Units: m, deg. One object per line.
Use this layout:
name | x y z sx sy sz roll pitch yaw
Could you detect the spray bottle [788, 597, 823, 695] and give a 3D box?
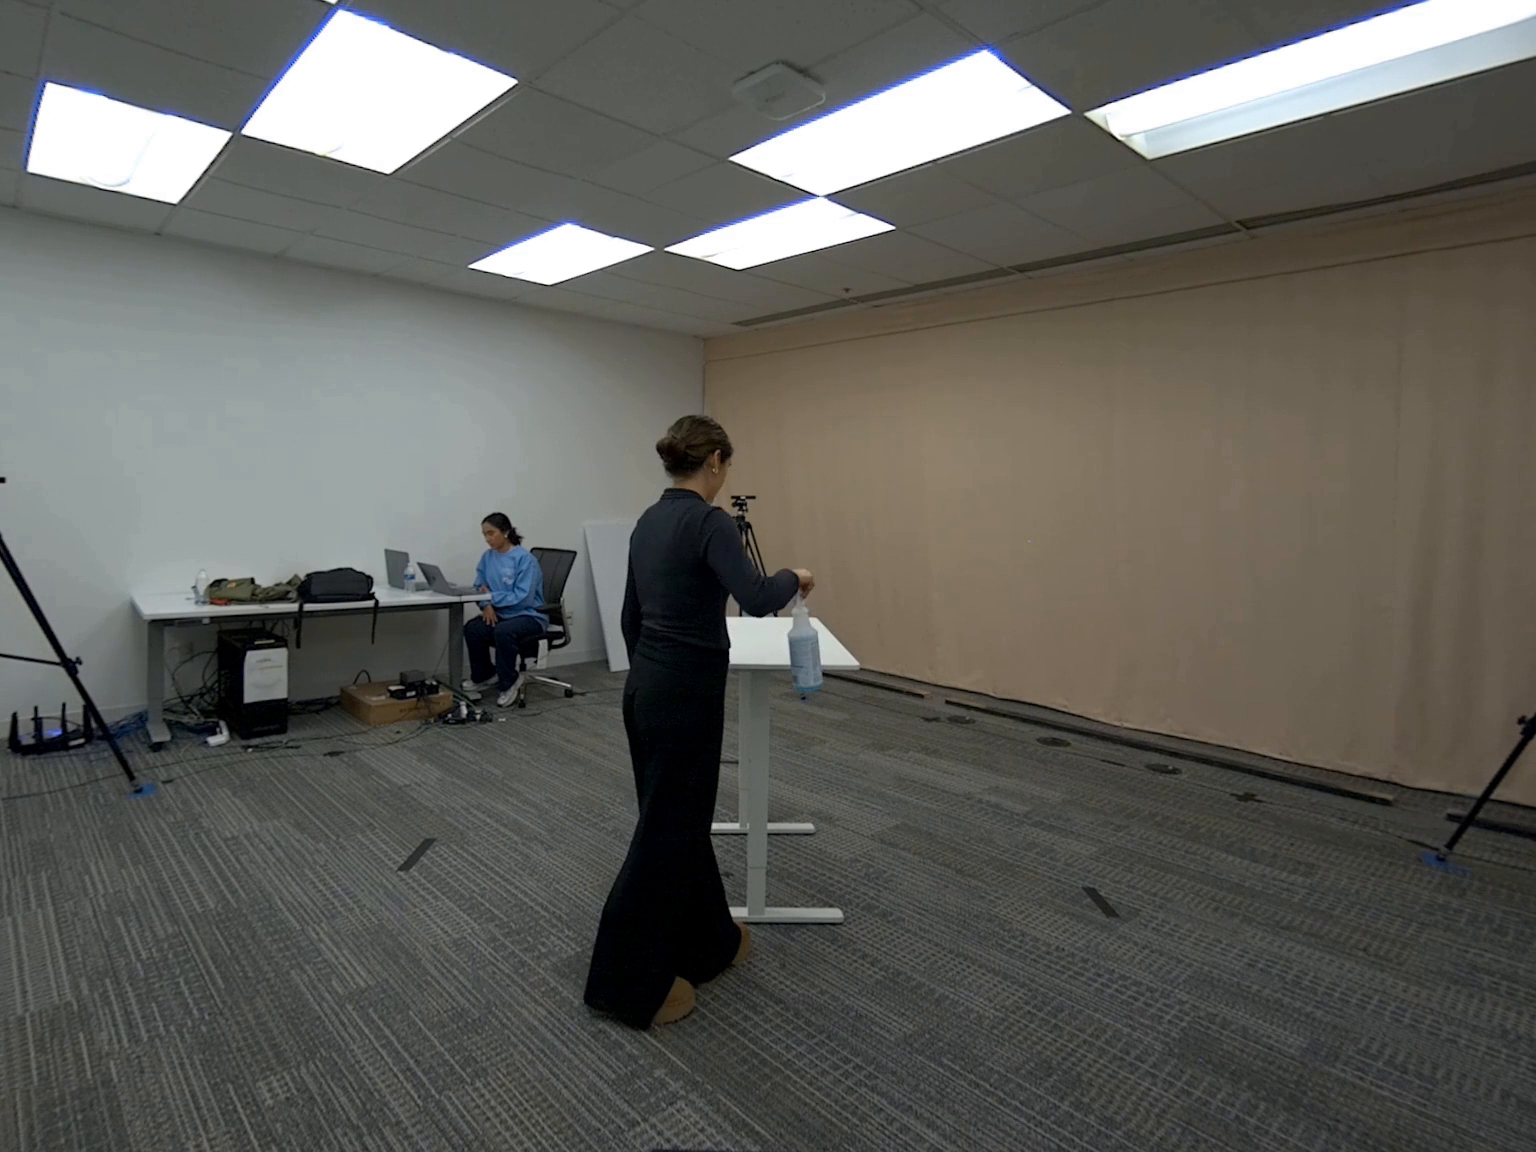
spray bottle | 0.081 0.176 2.344 0.089 0.296 0.088 -2 7 34
